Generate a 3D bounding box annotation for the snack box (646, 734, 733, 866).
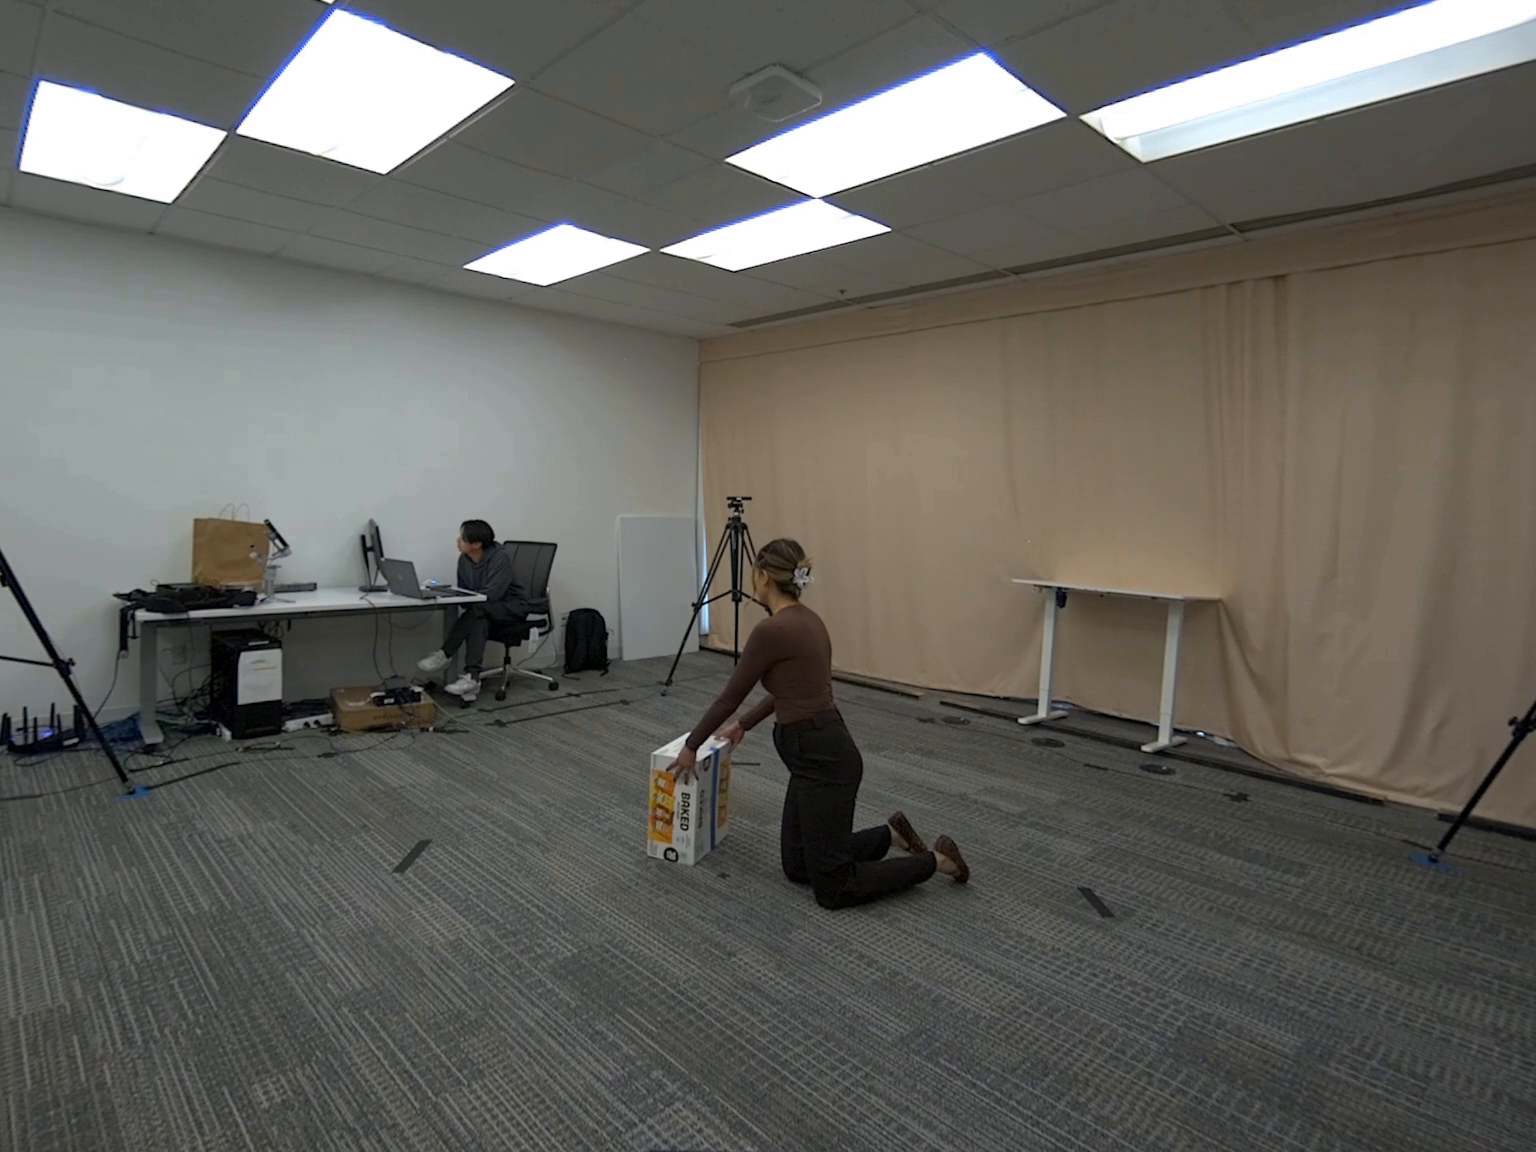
[{"bbox_3d":[-0.316,0.878,3.361,0.209,0.404,0.335,4,5,20],"label":"snack box"}]
